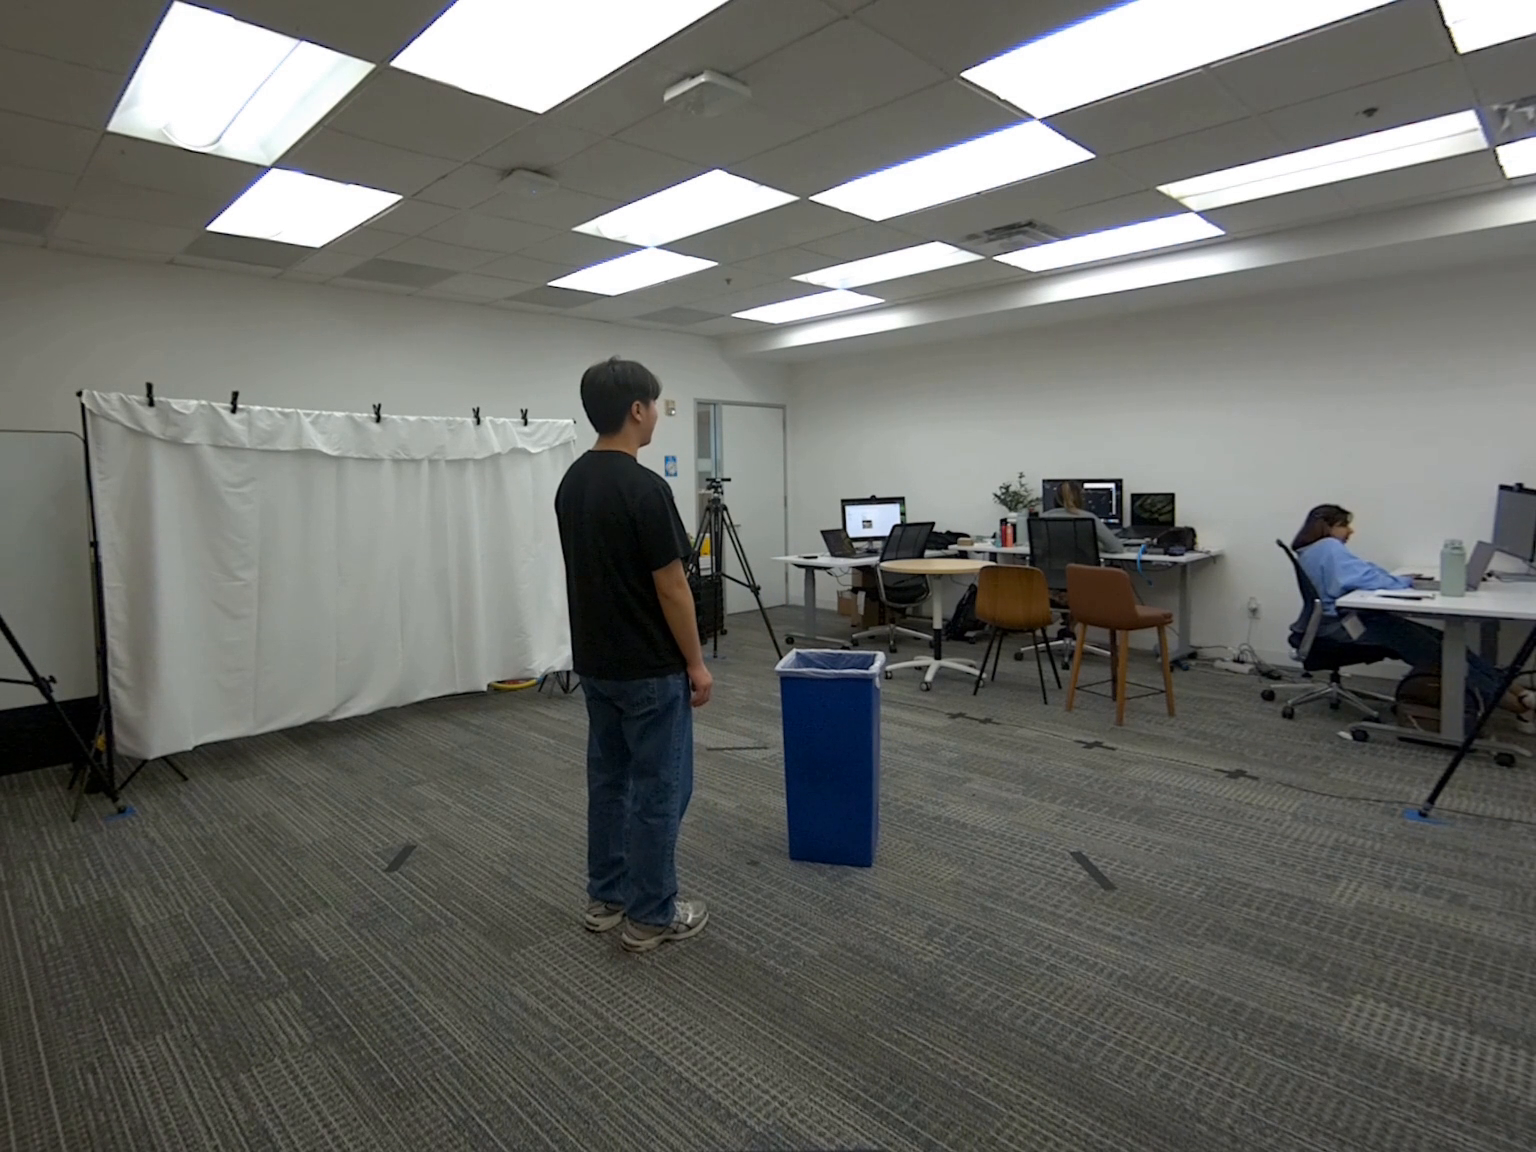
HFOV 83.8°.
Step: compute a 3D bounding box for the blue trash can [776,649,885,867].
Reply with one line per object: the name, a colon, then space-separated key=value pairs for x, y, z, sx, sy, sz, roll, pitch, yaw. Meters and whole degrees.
blue trash can: x=0.254 y=0.665 z=3.212 sx=0.379 sy=0.711 sz=0.374 roll=-2 pitch=4 yaw=14
